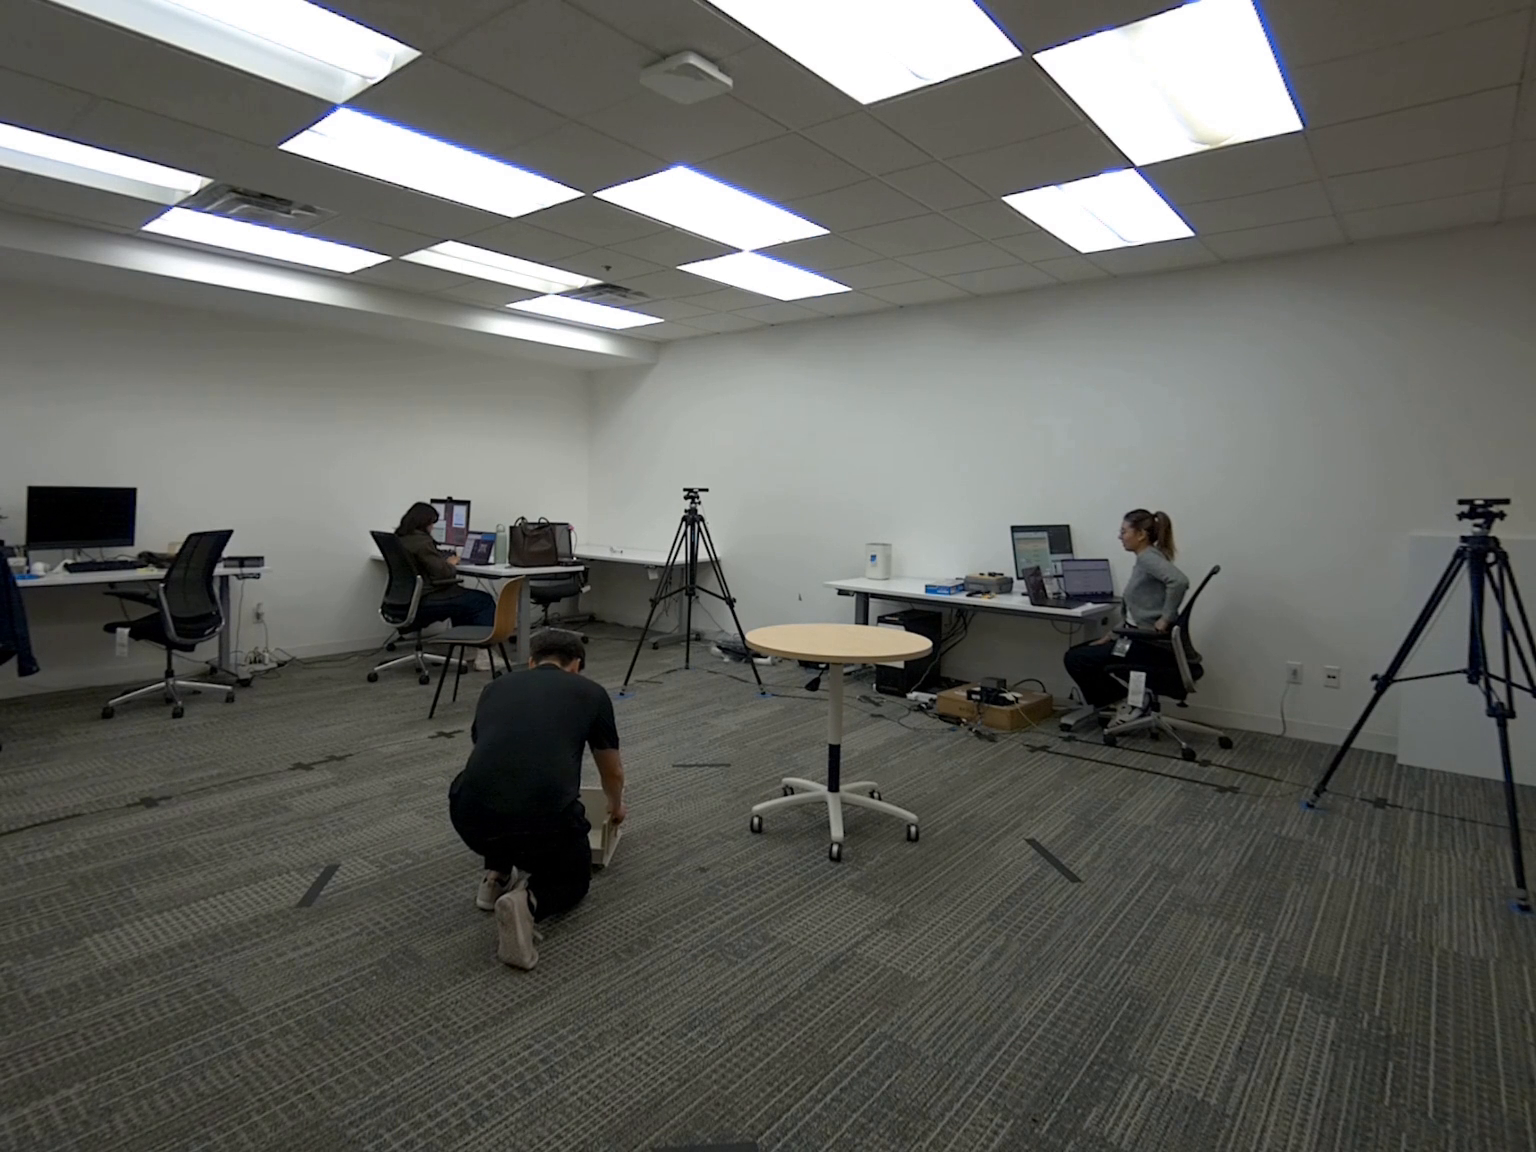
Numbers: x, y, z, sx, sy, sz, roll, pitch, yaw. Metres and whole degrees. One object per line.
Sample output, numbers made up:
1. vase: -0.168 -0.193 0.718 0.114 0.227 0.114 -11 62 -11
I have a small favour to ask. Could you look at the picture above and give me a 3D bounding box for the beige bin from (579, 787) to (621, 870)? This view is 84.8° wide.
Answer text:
1. beige bin: -0.800 0.956 3.247 0.424 0.188 0.378 0 5 2
